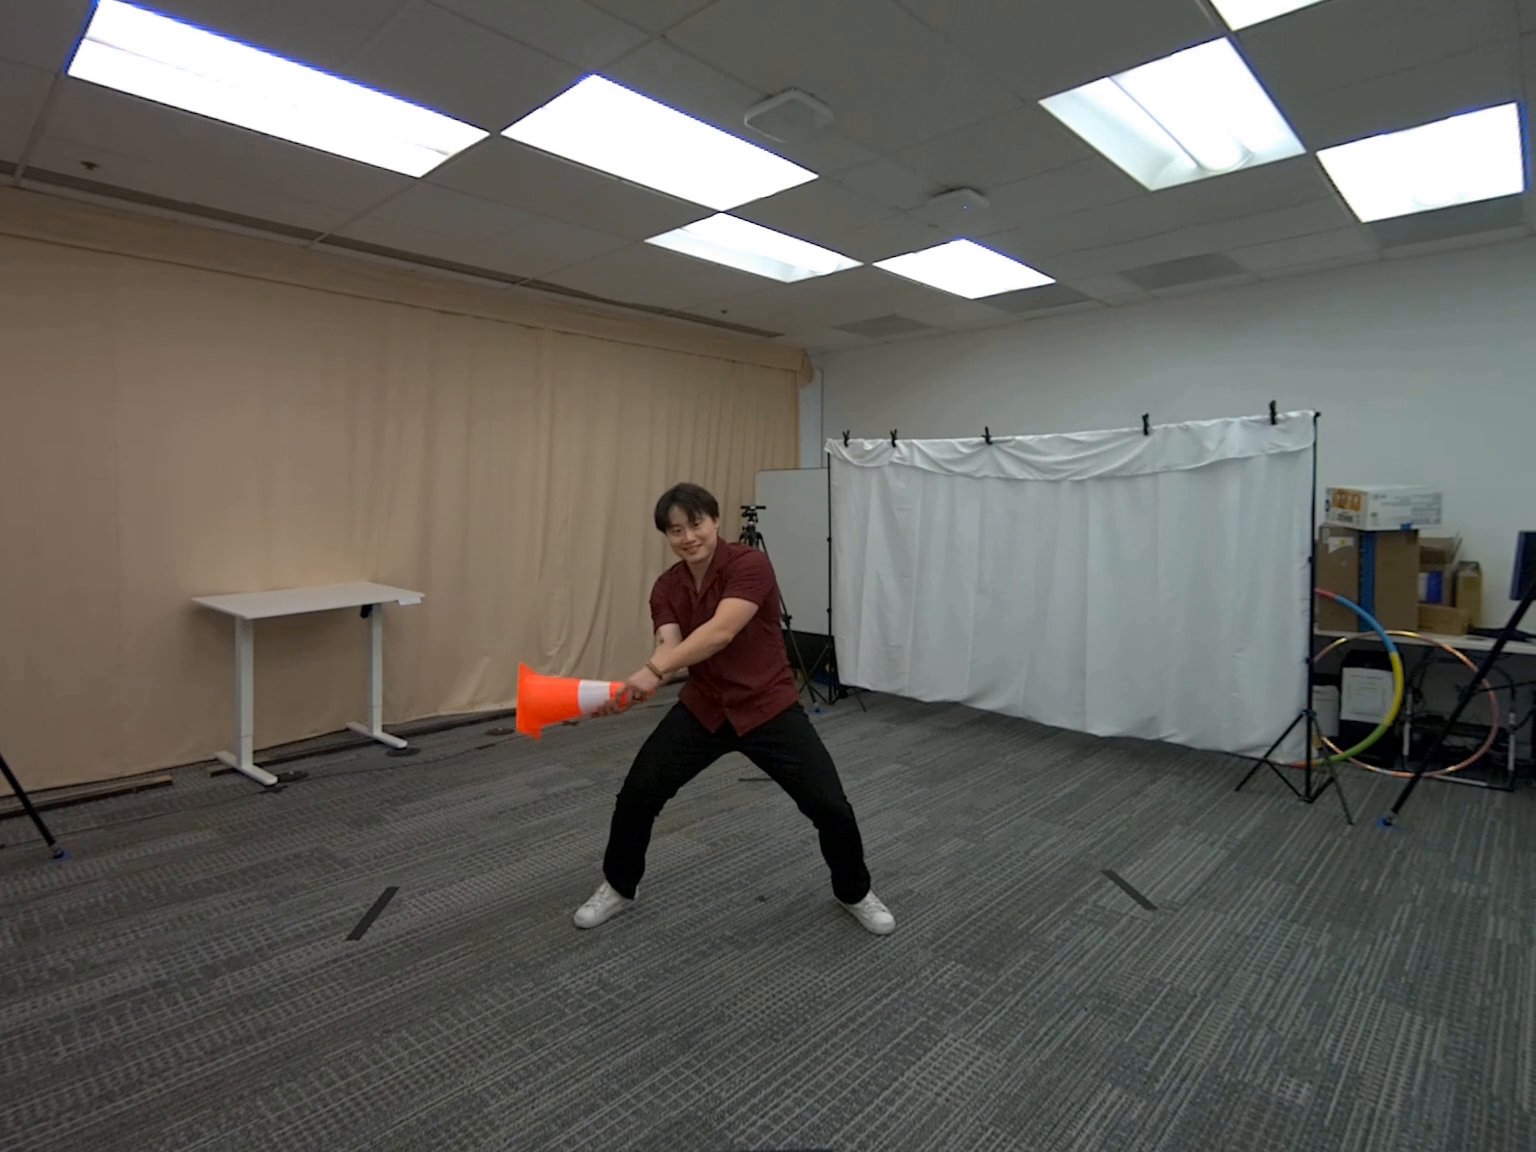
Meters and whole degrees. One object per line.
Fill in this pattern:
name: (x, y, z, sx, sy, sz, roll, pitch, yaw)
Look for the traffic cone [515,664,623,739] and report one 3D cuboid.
traffic cone: (-0.517, 0.354, 2.471, 0.387, 0.208, 0.199, -6, -23, 8)
